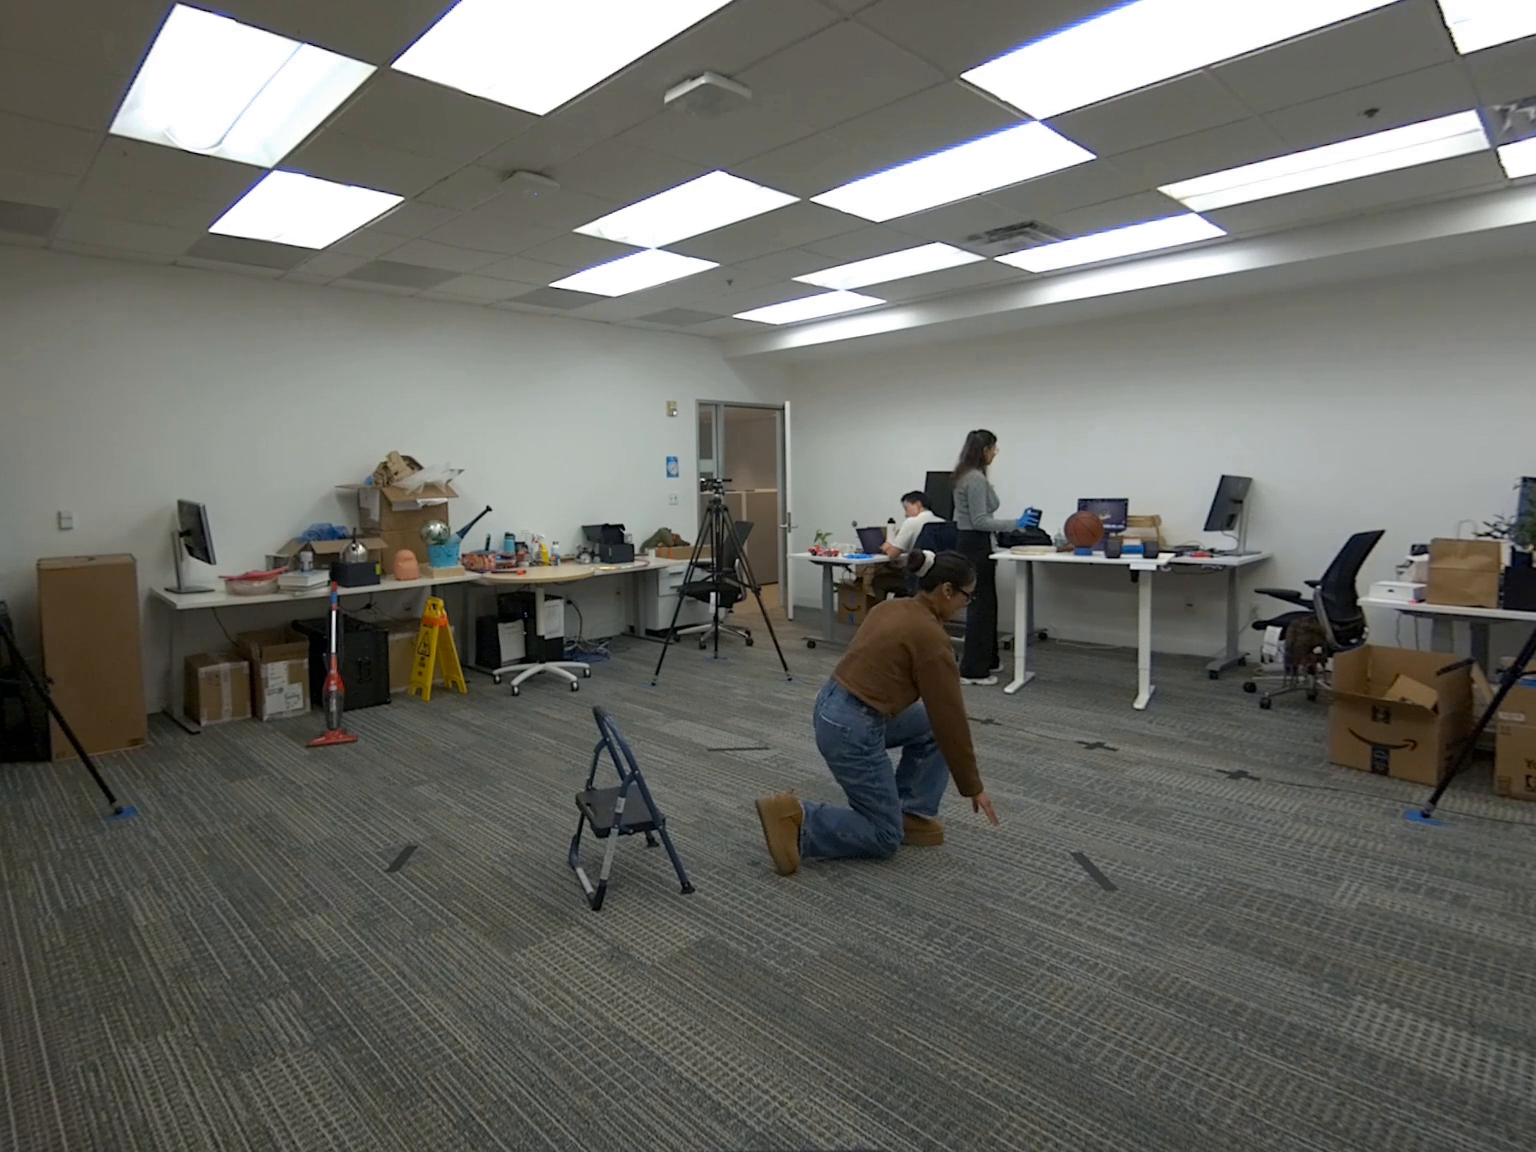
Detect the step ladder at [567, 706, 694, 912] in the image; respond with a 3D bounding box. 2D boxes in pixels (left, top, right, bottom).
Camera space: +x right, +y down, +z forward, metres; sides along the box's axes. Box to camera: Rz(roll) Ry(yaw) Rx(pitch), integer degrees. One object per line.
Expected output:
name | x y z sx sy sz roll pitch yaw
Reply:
step ladder | -0.500 0.763 3.008 0.342 0.604 0.441 -3 5 -25
